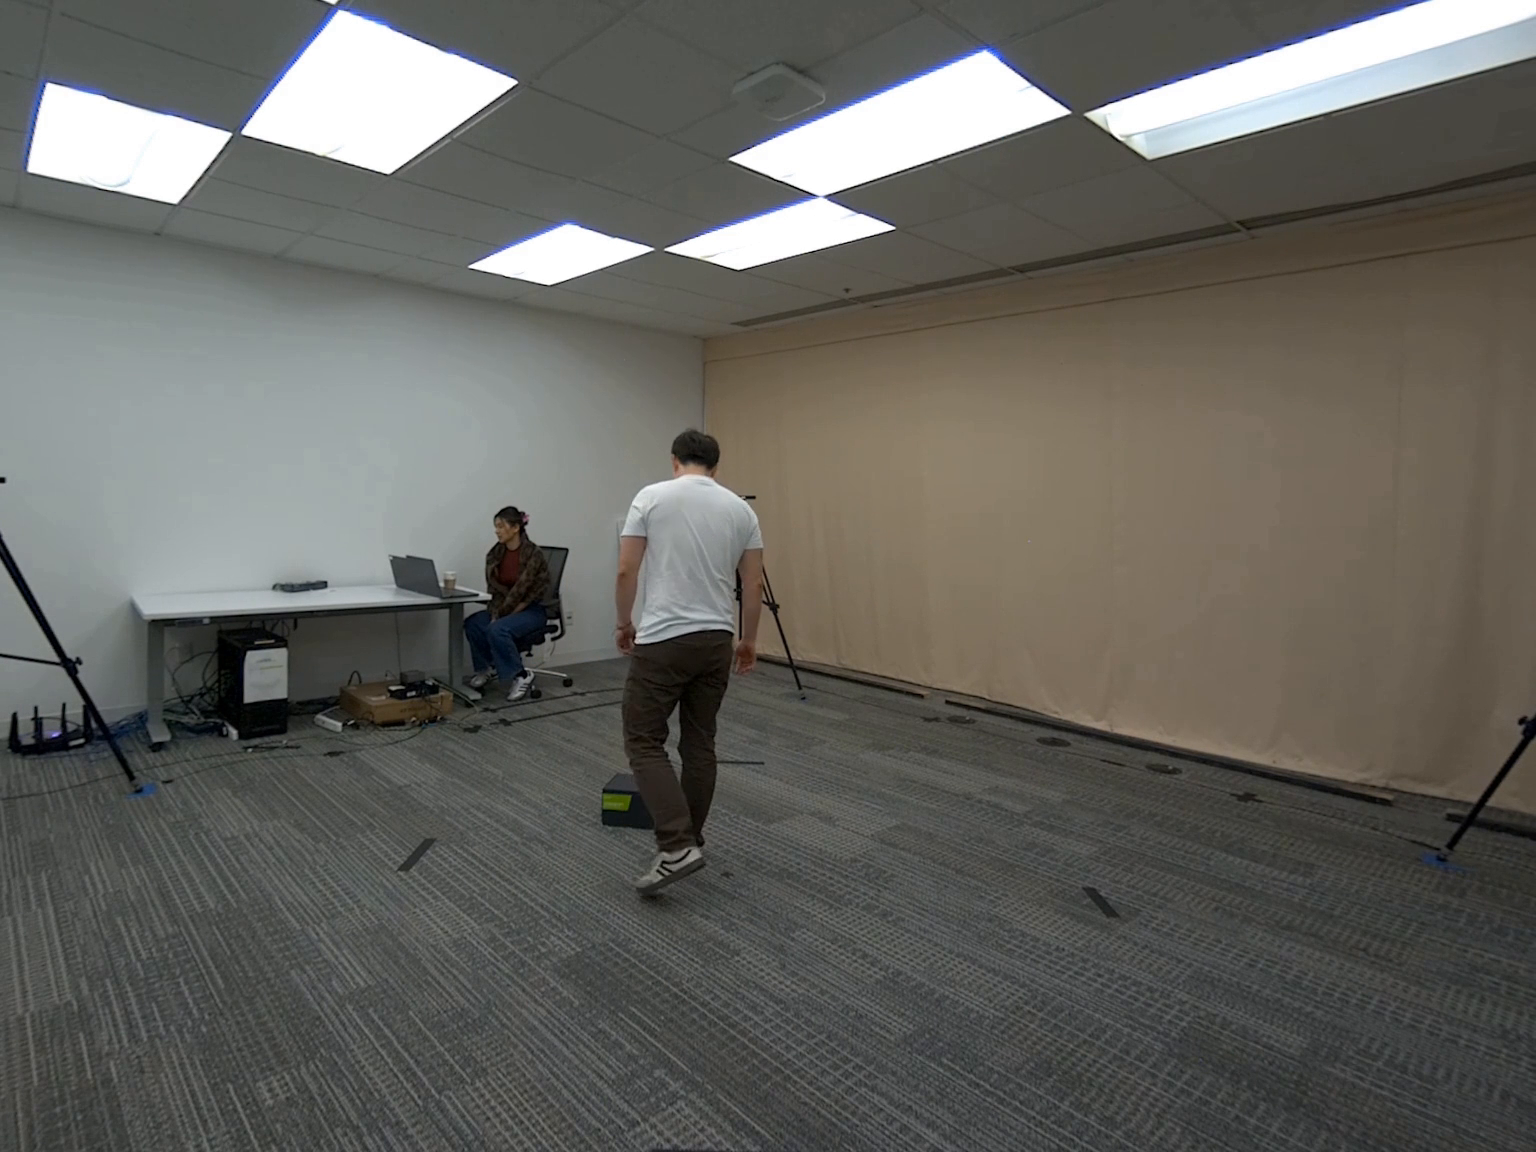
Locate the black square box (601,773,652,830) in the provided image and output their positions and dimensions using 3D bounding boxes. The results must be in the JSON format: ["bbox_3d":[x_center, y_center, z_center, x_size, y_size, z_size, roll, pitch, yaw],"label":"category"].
[{"bbox_3d":[-0.584,0.961,3.625,0.229,0.155,0.216,2,4,8],"label":"black square box"}]
